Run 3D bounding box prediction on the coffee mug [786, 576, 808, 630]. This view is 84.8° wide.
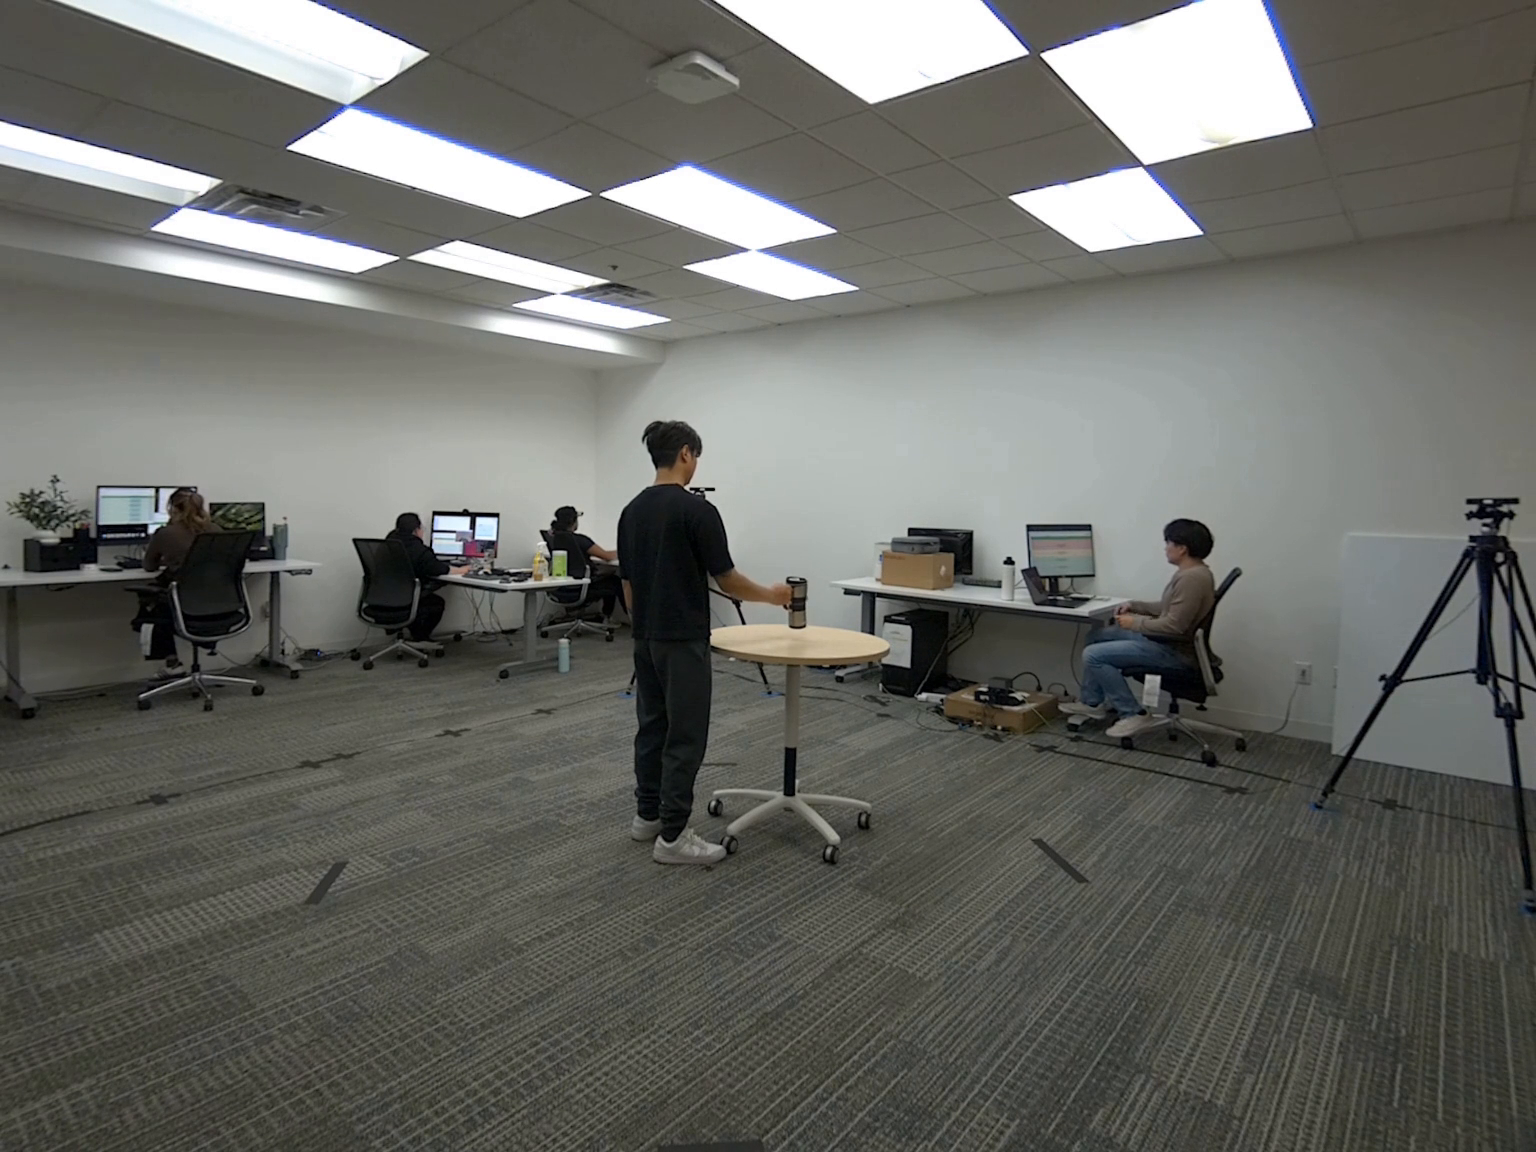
[{"bbox_3d":[0.092,0.102,3.467,0.126,0.200,0.086,9,18,35],"label":"coffee mug"}]
